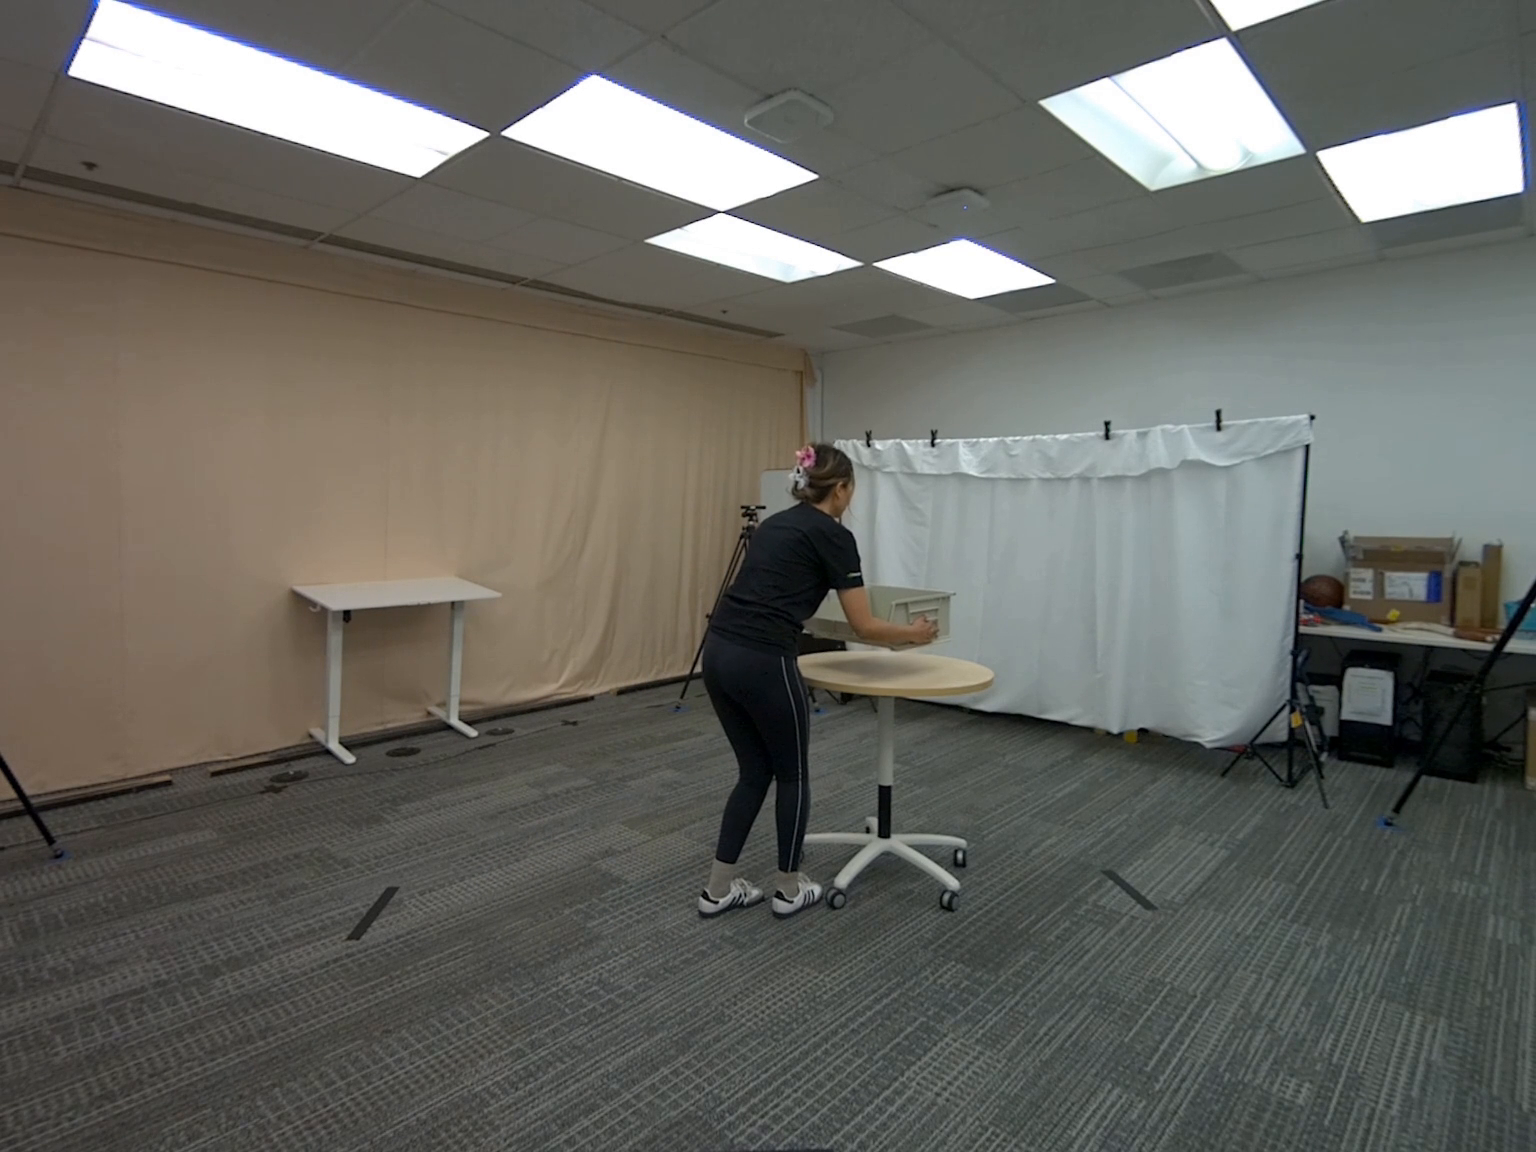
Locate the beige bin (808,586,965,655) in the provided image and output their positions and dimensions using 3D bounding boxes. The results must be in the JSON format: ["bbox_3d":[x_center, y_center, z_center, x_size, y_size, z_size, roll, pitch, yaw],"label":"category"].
[{"bbox_3d":[0.433,0.152,3.147,0.366,0.189,0.436,-2,4,-41],"label":"beige bin"}]
